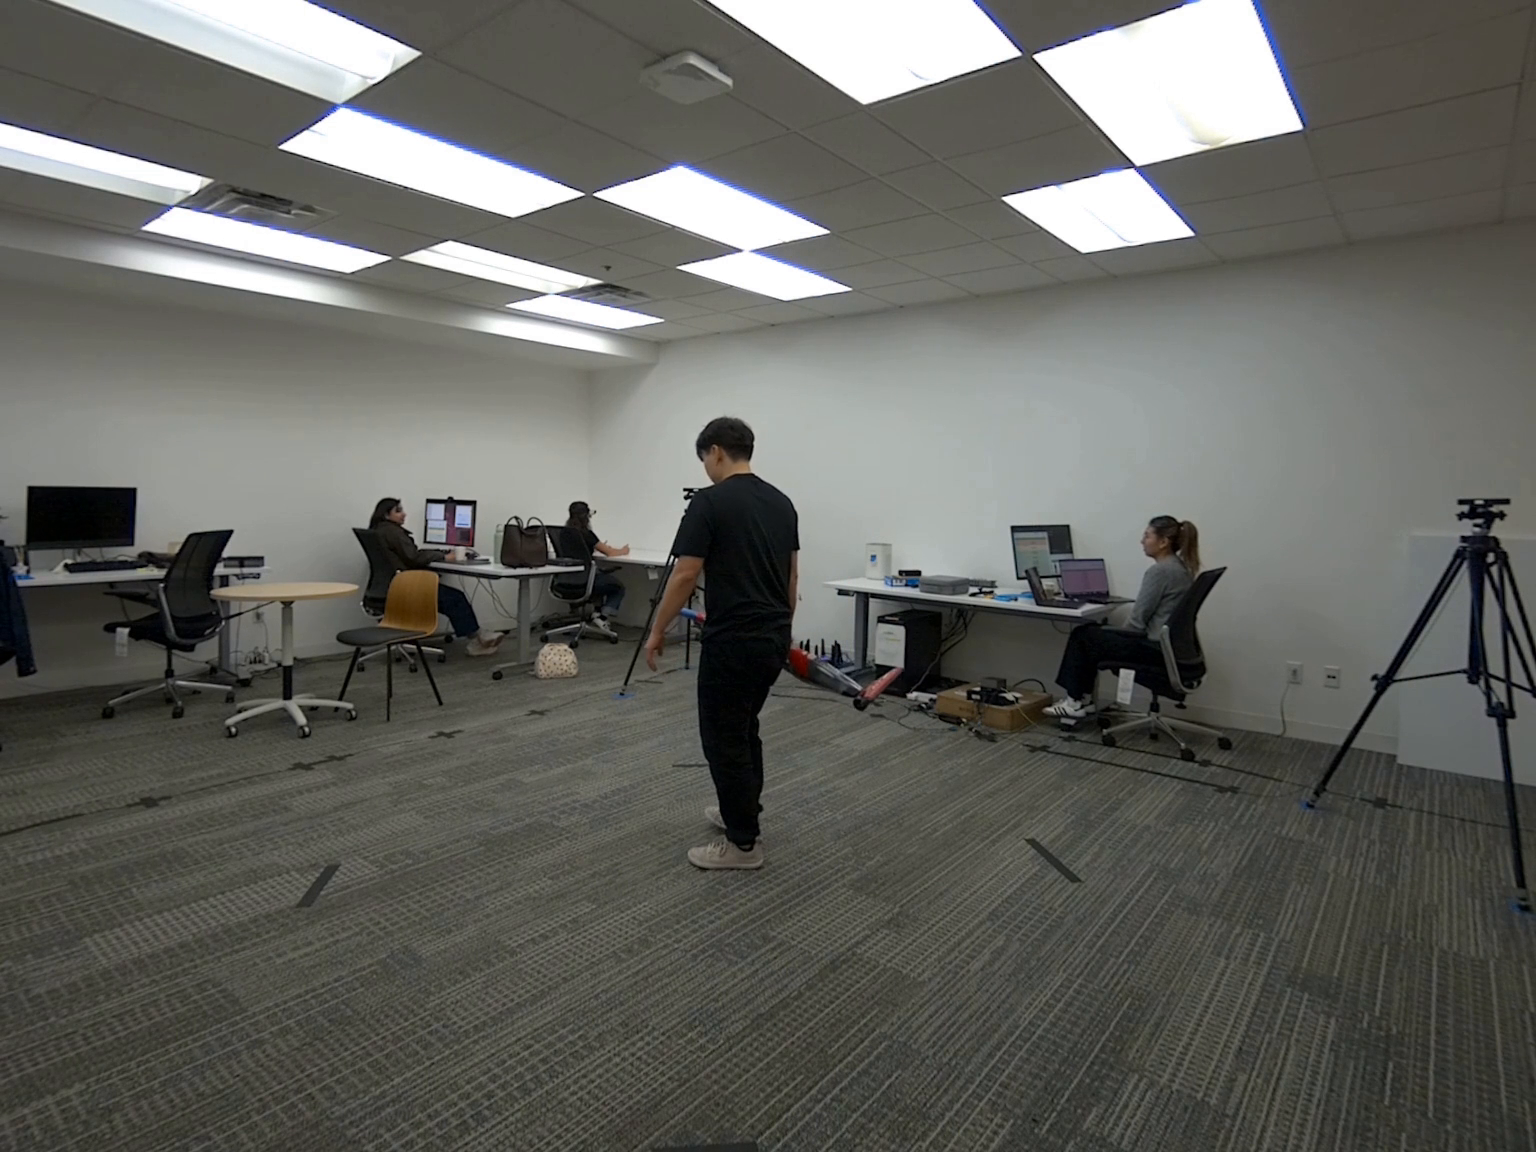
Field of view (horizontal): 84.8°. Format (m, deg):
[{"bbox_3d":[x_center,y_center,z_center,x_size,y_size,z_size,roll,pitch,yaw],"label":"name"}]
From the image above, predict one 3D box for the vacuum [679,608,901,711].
[{"bbox_3d":[-0.028,0.302,3.479,1.087,0.141,0.248,17,26,33],"label":"vacuum"}]
